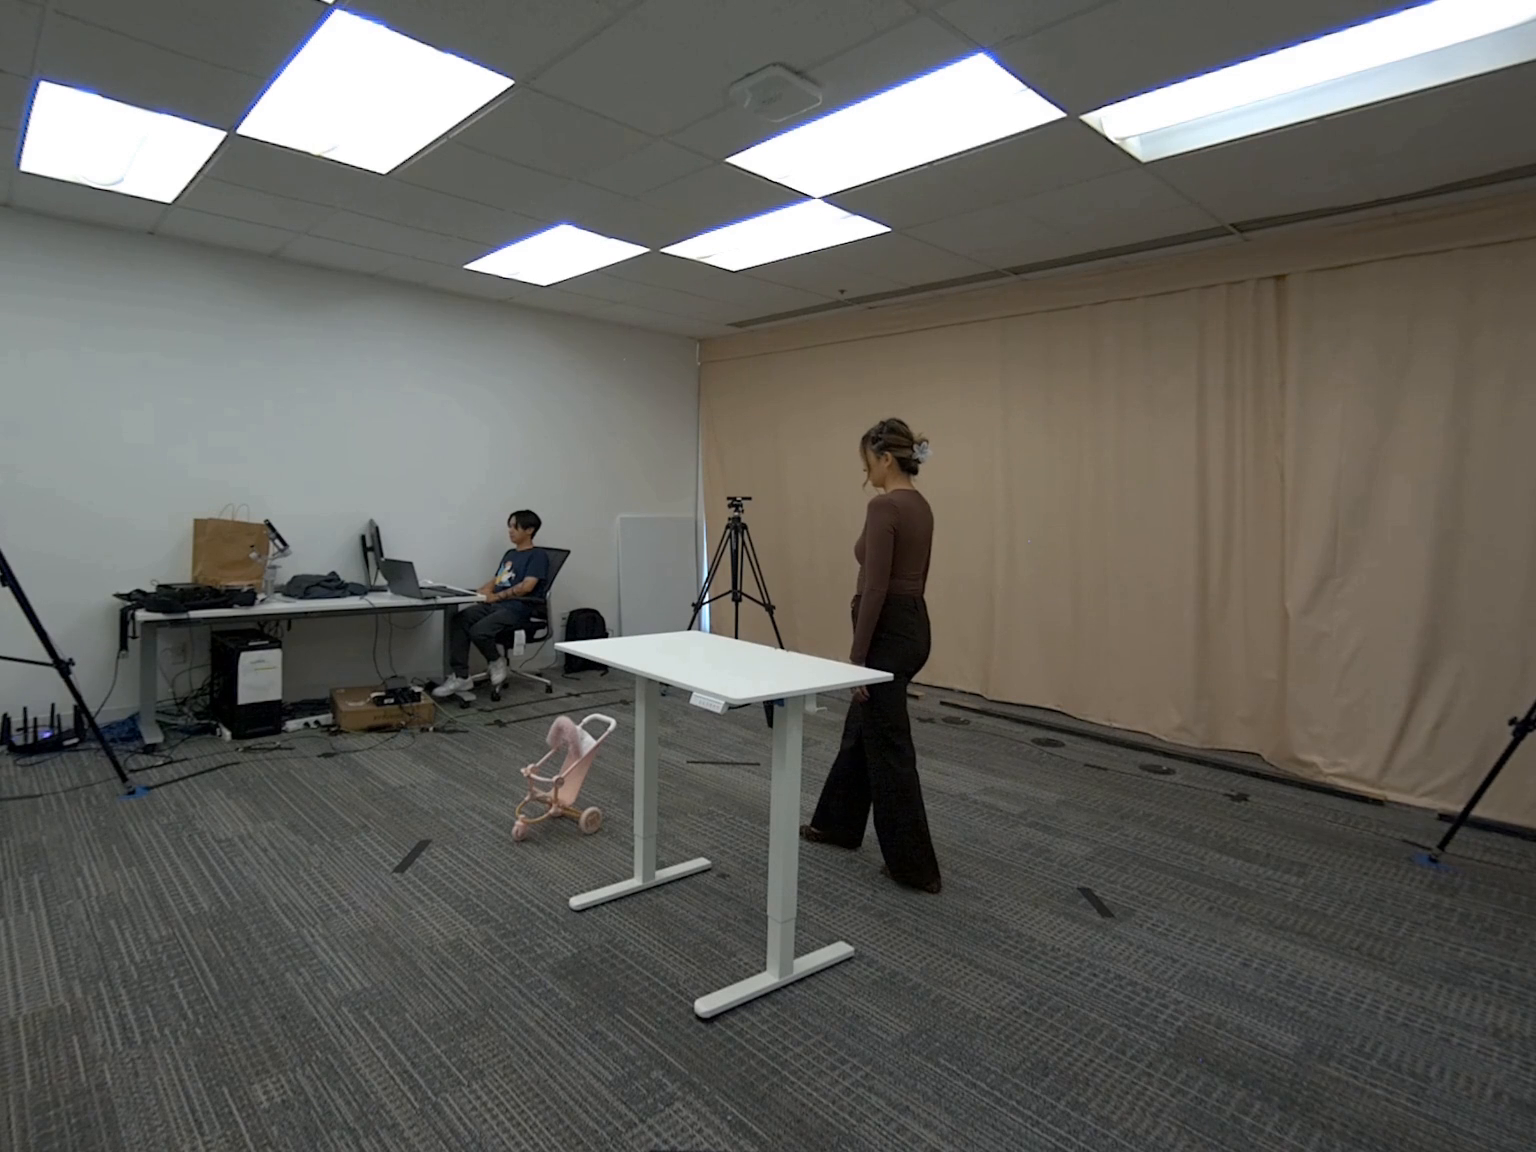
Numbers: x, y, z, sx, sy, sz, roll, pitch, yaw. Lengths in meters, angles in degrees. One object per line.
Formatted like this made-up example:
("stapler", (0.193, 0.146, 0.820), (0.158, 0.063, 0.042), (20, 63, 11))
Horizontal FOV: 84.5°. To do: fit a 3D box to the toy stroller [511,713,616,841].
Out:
("toy stroller", (-0.864, 0.825, 3.499), (0.331, 0.537, 0.288), (19, -9, -41))
